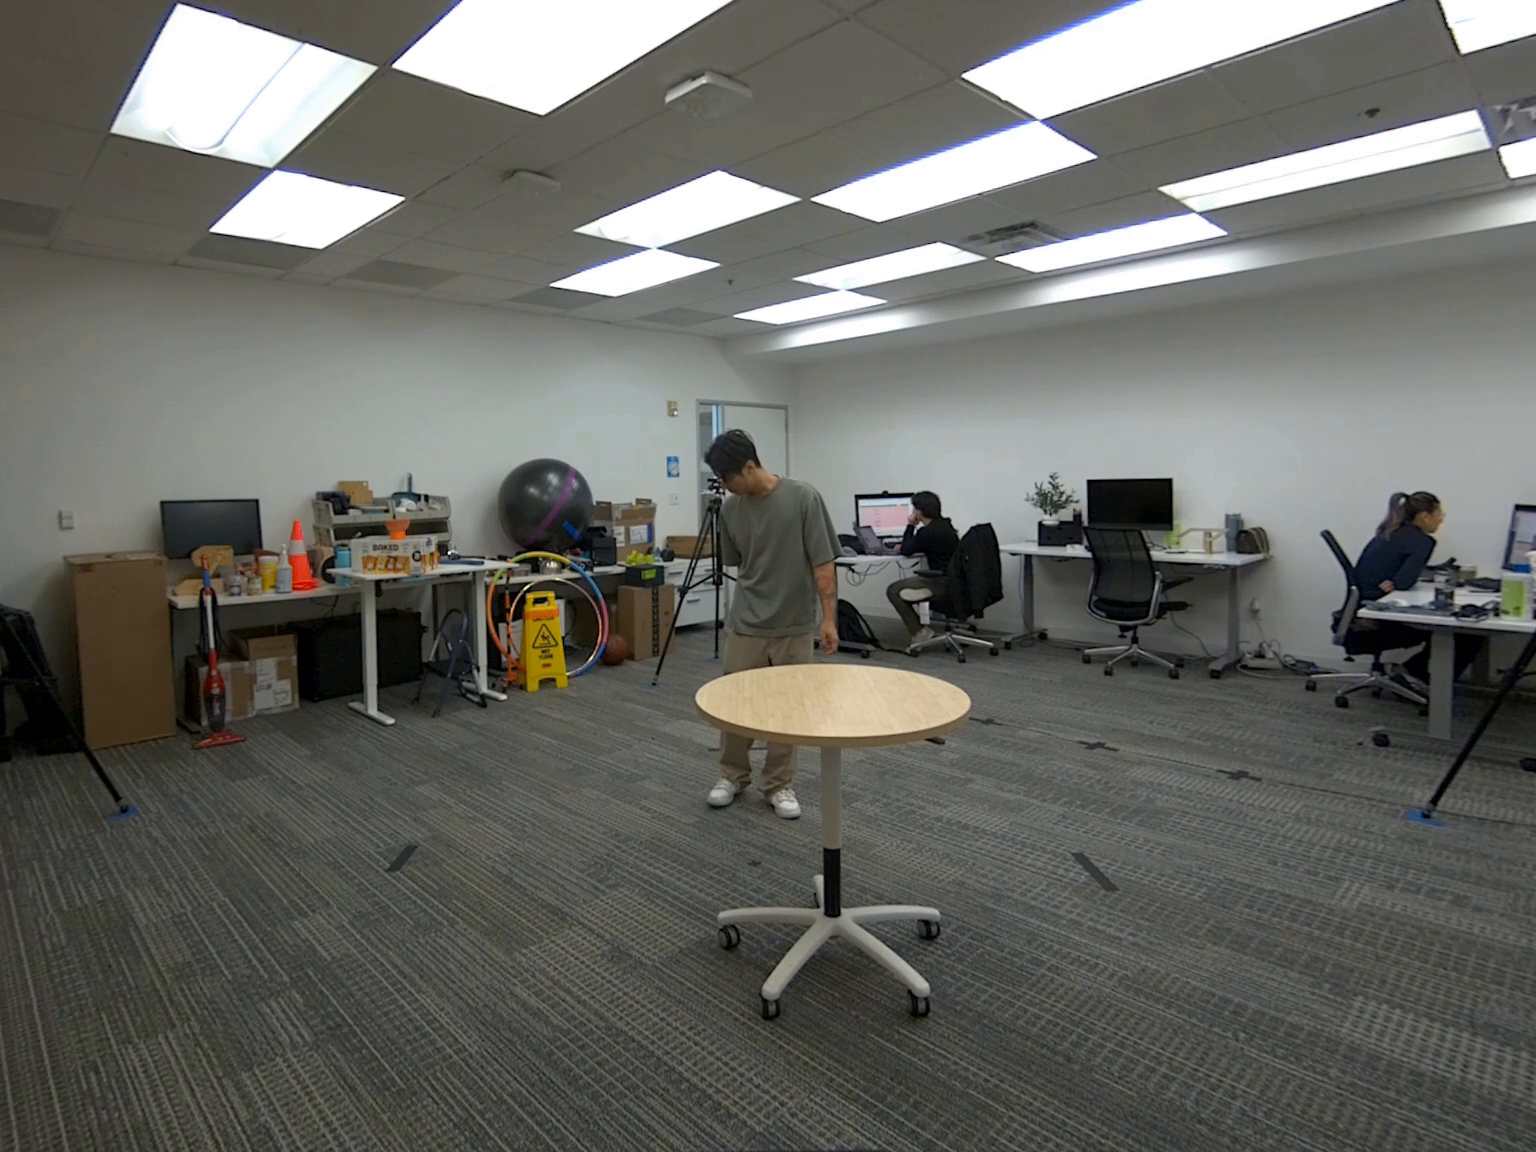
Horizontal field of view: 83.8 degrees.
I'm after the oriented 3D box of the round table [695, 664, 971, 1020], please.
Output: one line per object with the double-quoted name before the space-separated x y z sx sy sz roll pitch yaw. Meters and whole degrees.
"round table" 0.175 0.729 2.439 0.784 0.783 0.789 -1 5 -2
